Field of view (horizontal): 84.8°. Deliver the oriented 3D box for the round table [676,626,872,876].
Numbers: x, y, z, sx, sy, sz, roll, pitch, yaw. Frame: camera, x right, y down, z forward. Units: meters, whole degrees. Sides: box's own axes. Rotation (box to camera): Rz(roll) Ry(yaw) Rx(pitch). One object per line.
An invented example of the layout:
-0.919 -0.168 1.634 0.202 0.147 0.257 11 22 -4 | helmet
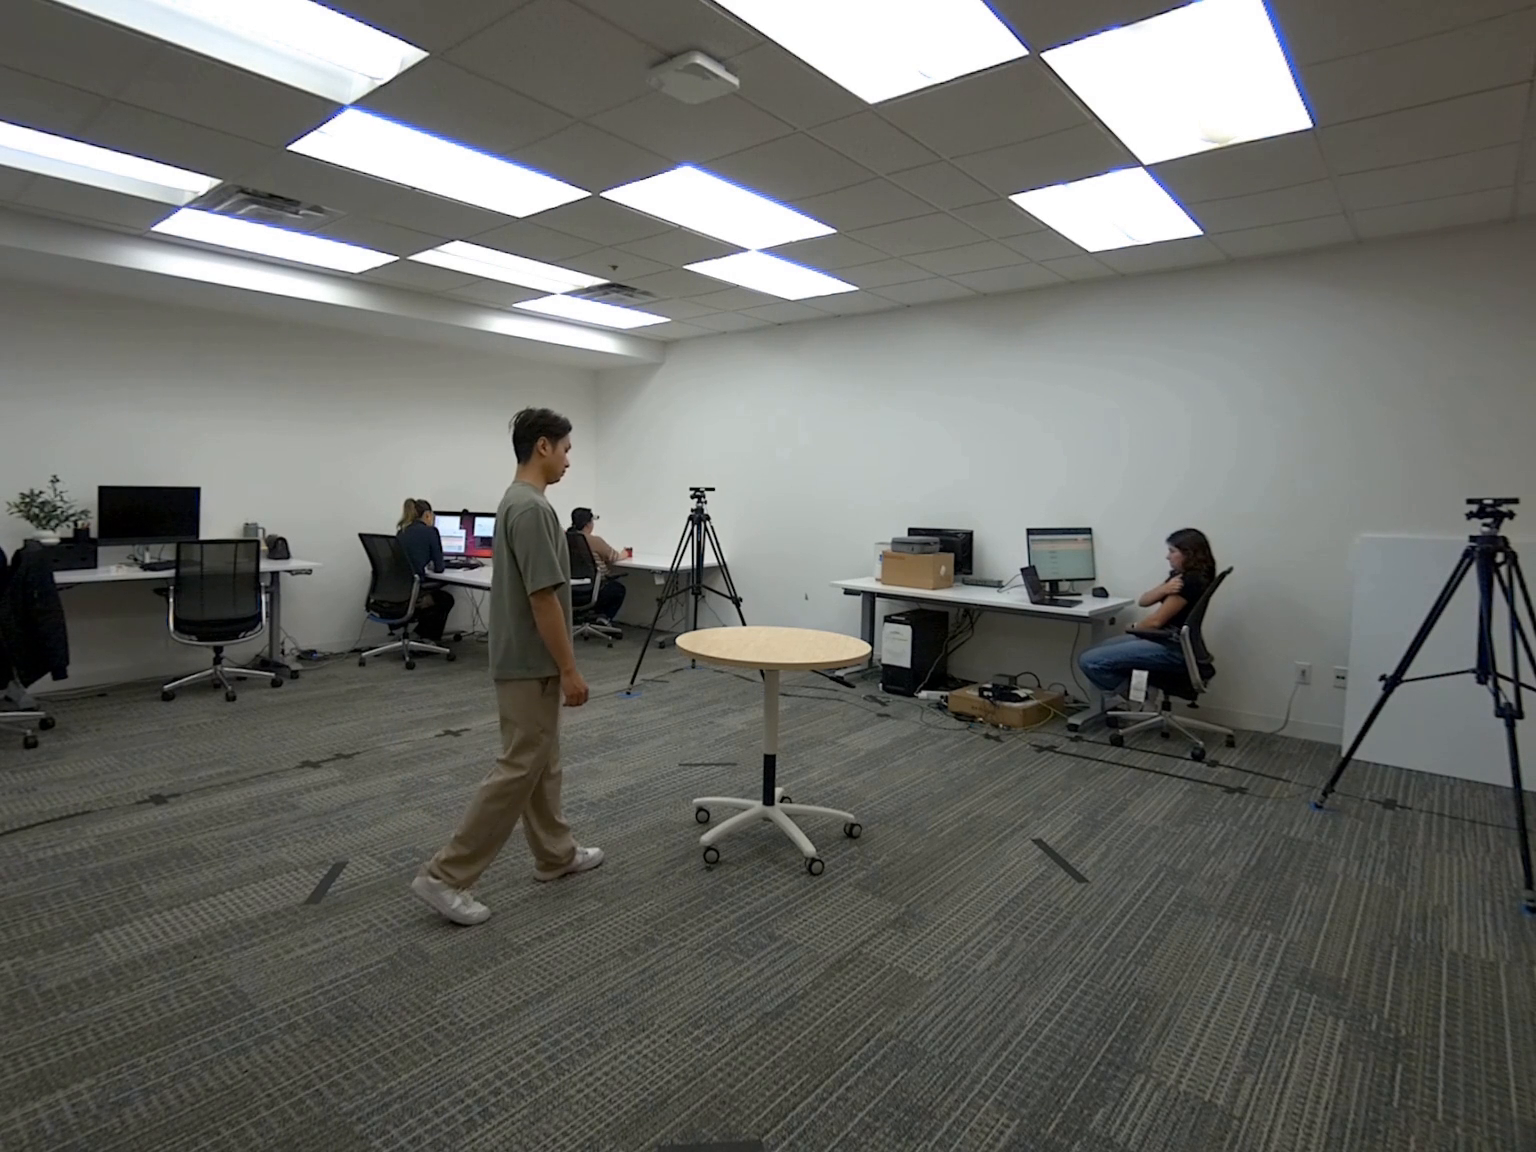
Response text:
-0.010 0.647 3.381 0.784 0.784 0.789 2 4 -2 | round table
